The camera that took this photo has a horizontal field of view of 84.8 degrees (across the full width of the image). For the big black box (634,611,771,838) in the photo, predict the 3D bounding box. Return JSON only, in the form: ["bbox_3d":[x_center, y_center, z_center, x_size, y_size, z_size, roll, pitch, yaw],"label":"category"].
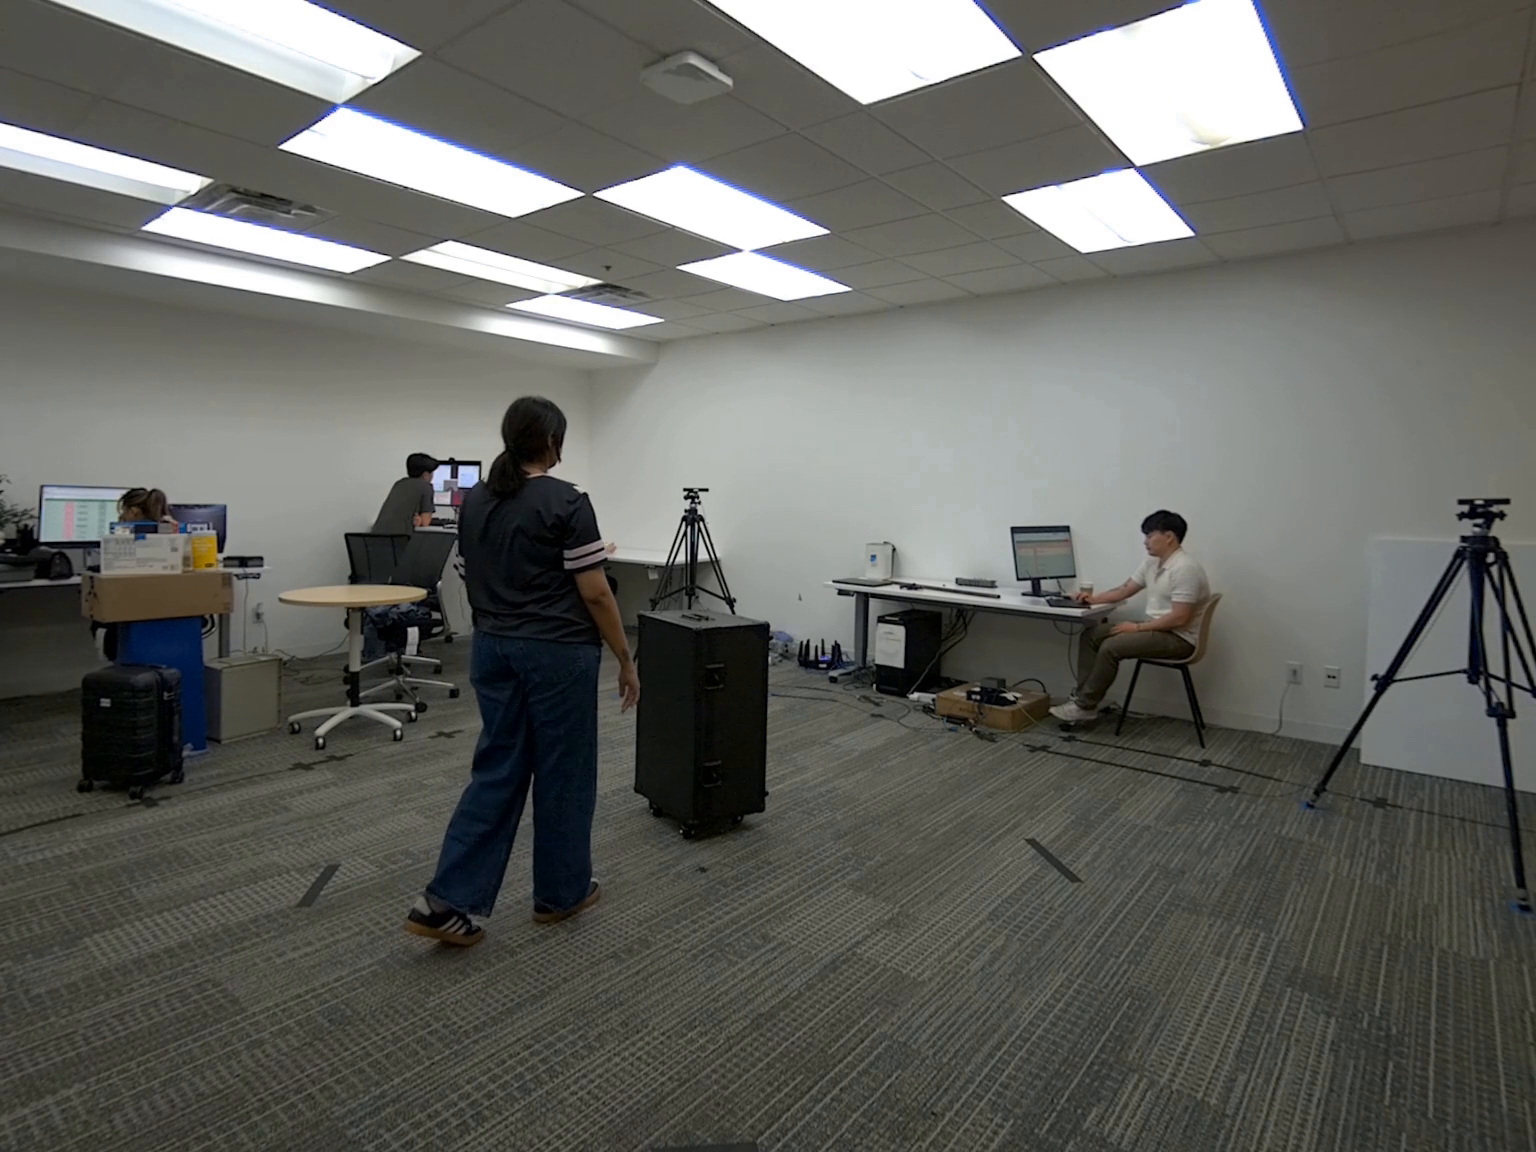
[{"bbox_3d":[-0.302,0.598,3.590,0.374,0.866,0.540,0,4,-36],"label":"big black box"}]
